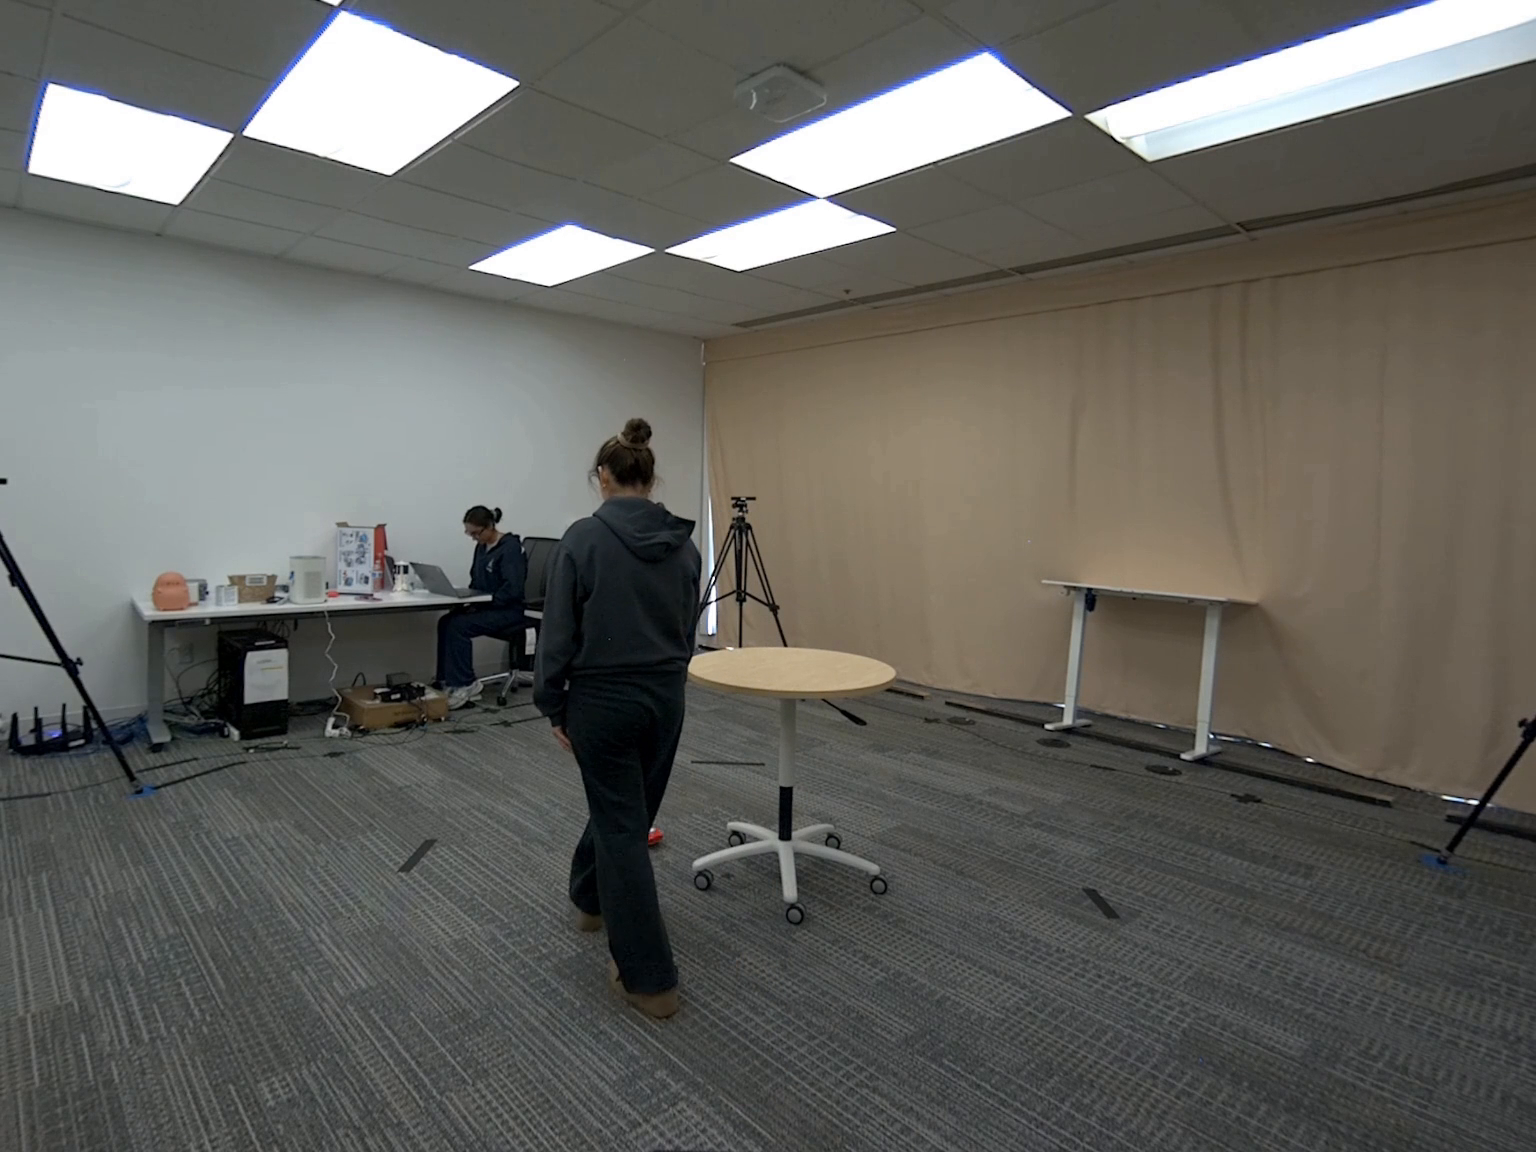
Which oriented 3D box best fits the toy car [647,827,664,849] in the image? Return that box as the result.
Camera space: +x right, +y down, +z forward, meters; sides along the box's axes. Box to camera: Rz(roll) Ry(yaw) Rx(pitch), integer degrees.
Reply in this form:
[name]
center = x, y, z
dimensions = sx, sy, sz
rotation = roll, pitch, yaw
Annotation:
[toy car]
center = -0.538, 1.043, 3.413
dimensions = 0.127, 0.083, 0.259
rotation = -1, -5, -42
